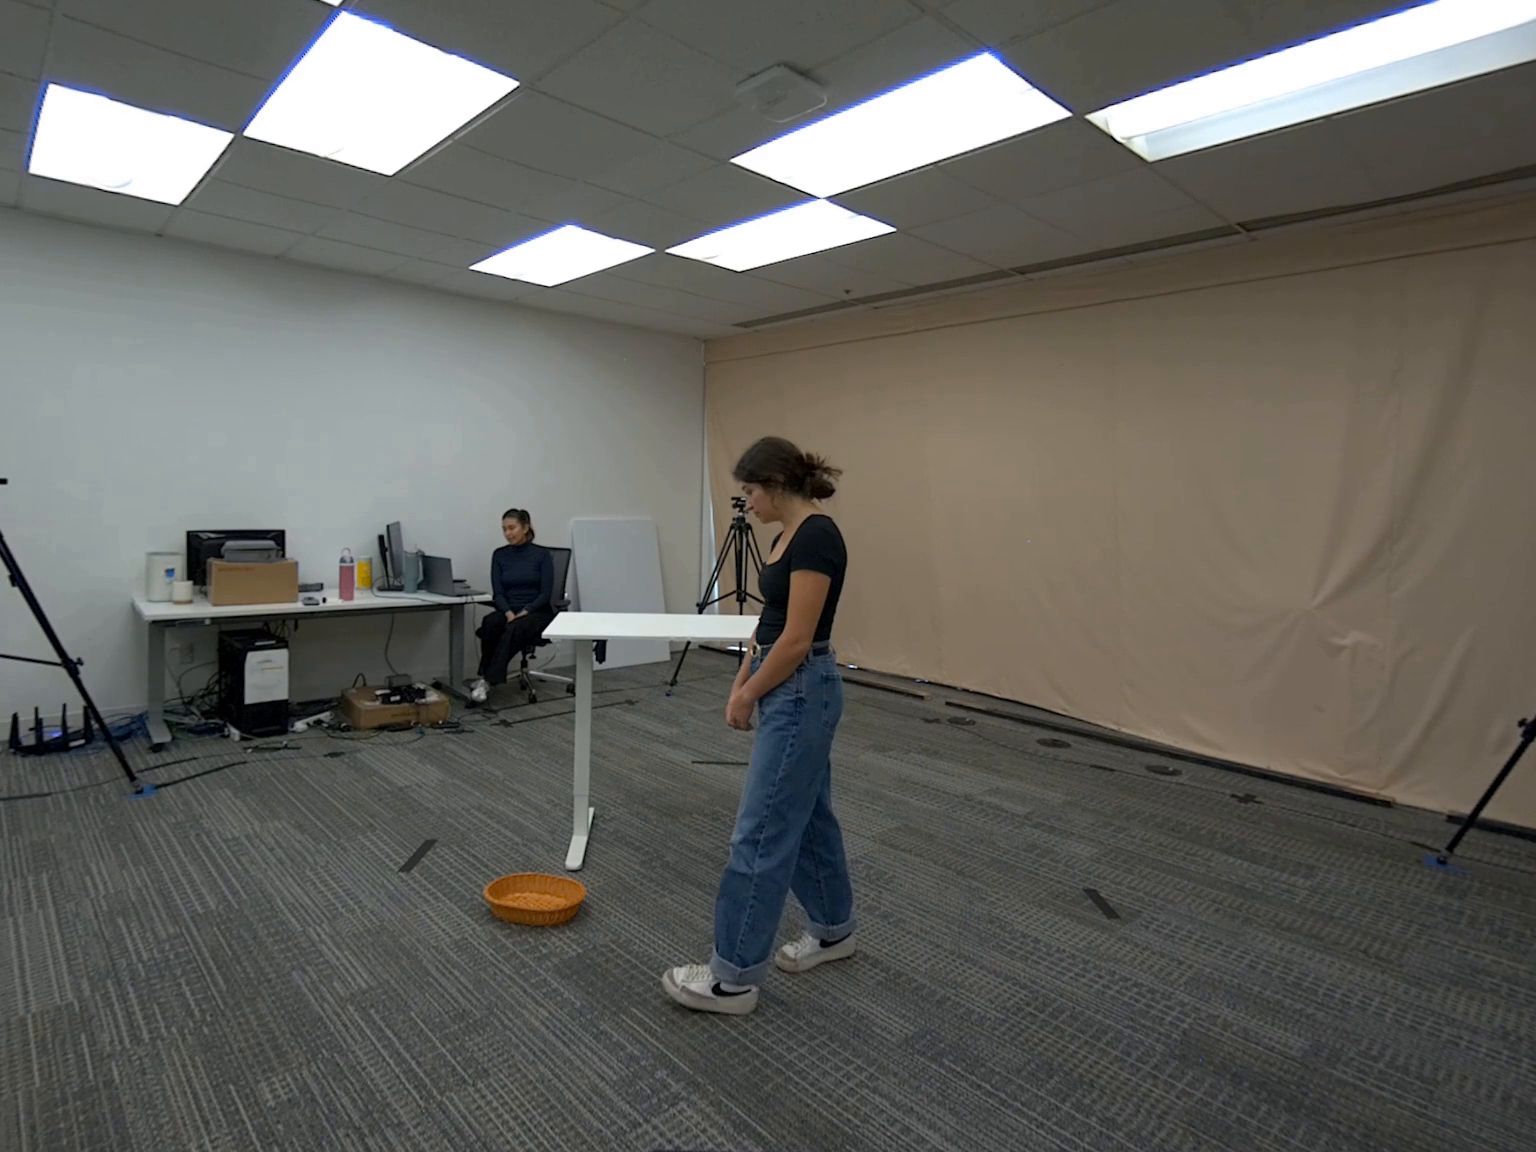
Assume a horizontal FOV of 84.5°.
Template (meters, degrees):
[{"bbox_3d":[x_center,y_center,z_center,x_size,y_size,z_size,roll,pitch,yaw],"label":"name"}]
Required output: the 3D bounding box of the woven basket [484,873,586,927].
[{"bbox_3d":[-0.781,1.082,2.811,0.355,0.073,0.249,3,4,17],"label":"woven basket"}]
